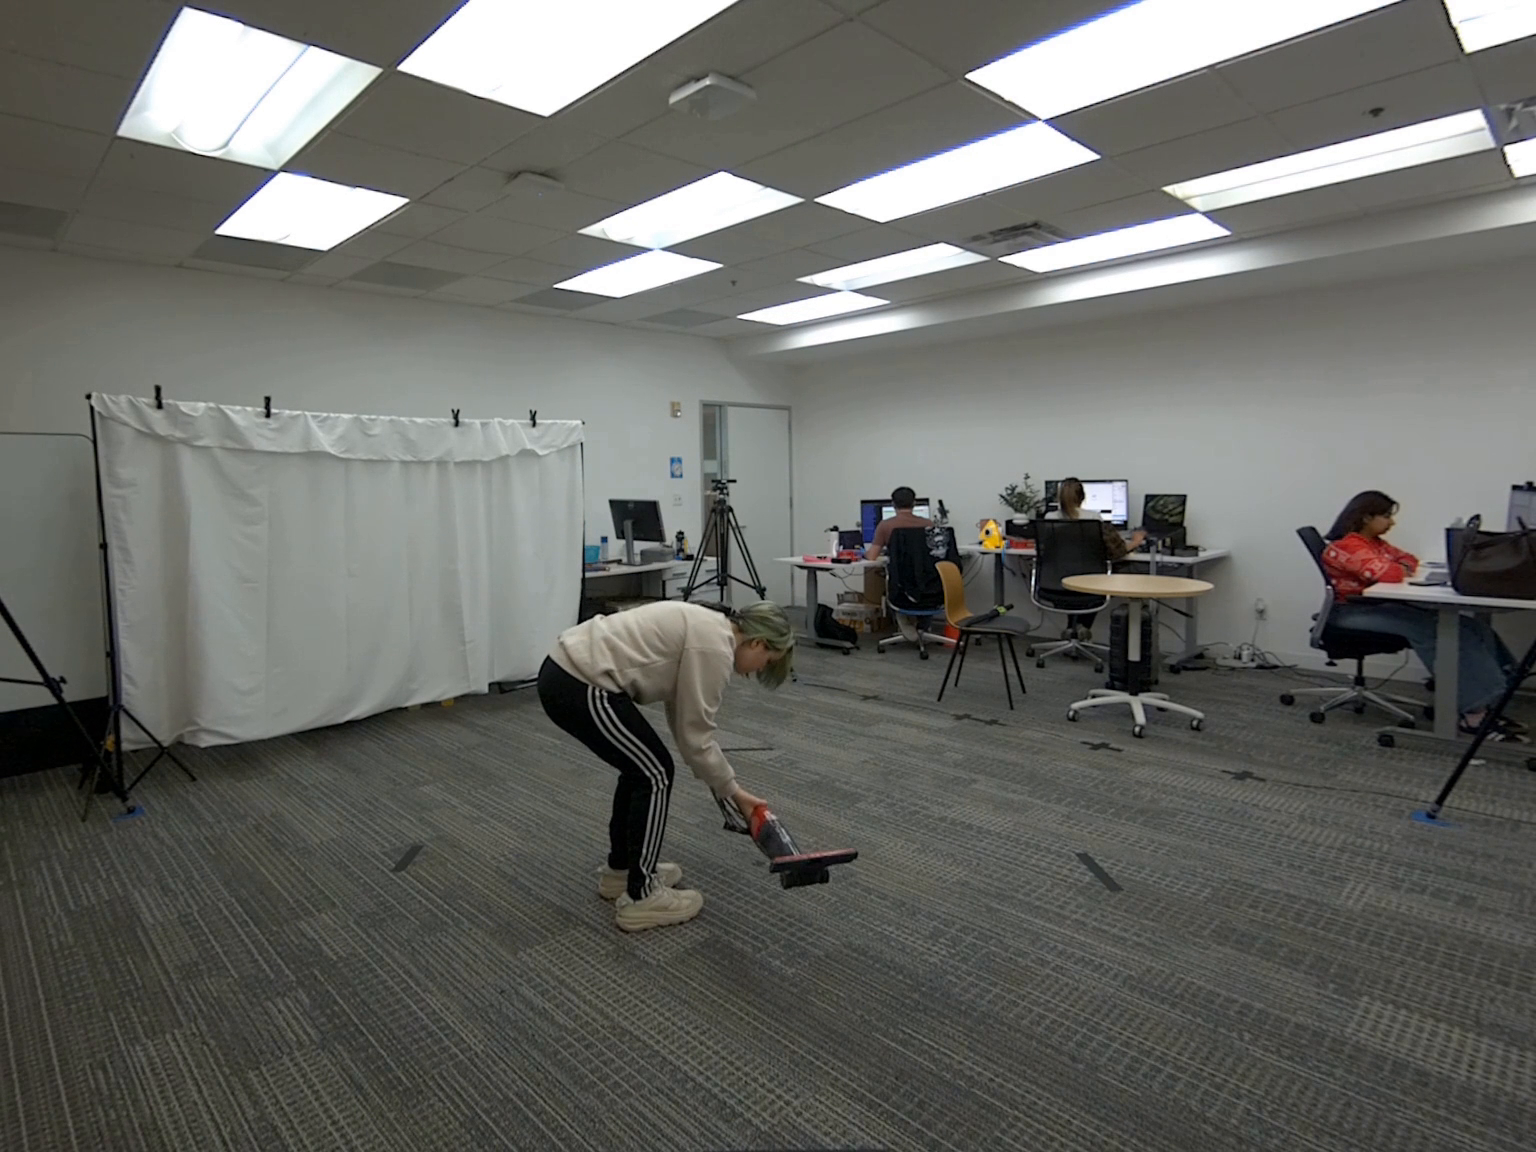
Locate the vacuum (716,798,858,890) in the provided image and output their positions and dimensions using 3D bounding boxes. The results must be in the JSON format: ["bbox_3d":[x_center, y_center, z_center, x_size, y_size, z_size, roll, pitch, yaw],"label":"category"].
[{"bbox_3d":[-0.079,0.788,2.861,0.248,0.143,1.070,-4,4,-21],"label":"vacuum"}]
